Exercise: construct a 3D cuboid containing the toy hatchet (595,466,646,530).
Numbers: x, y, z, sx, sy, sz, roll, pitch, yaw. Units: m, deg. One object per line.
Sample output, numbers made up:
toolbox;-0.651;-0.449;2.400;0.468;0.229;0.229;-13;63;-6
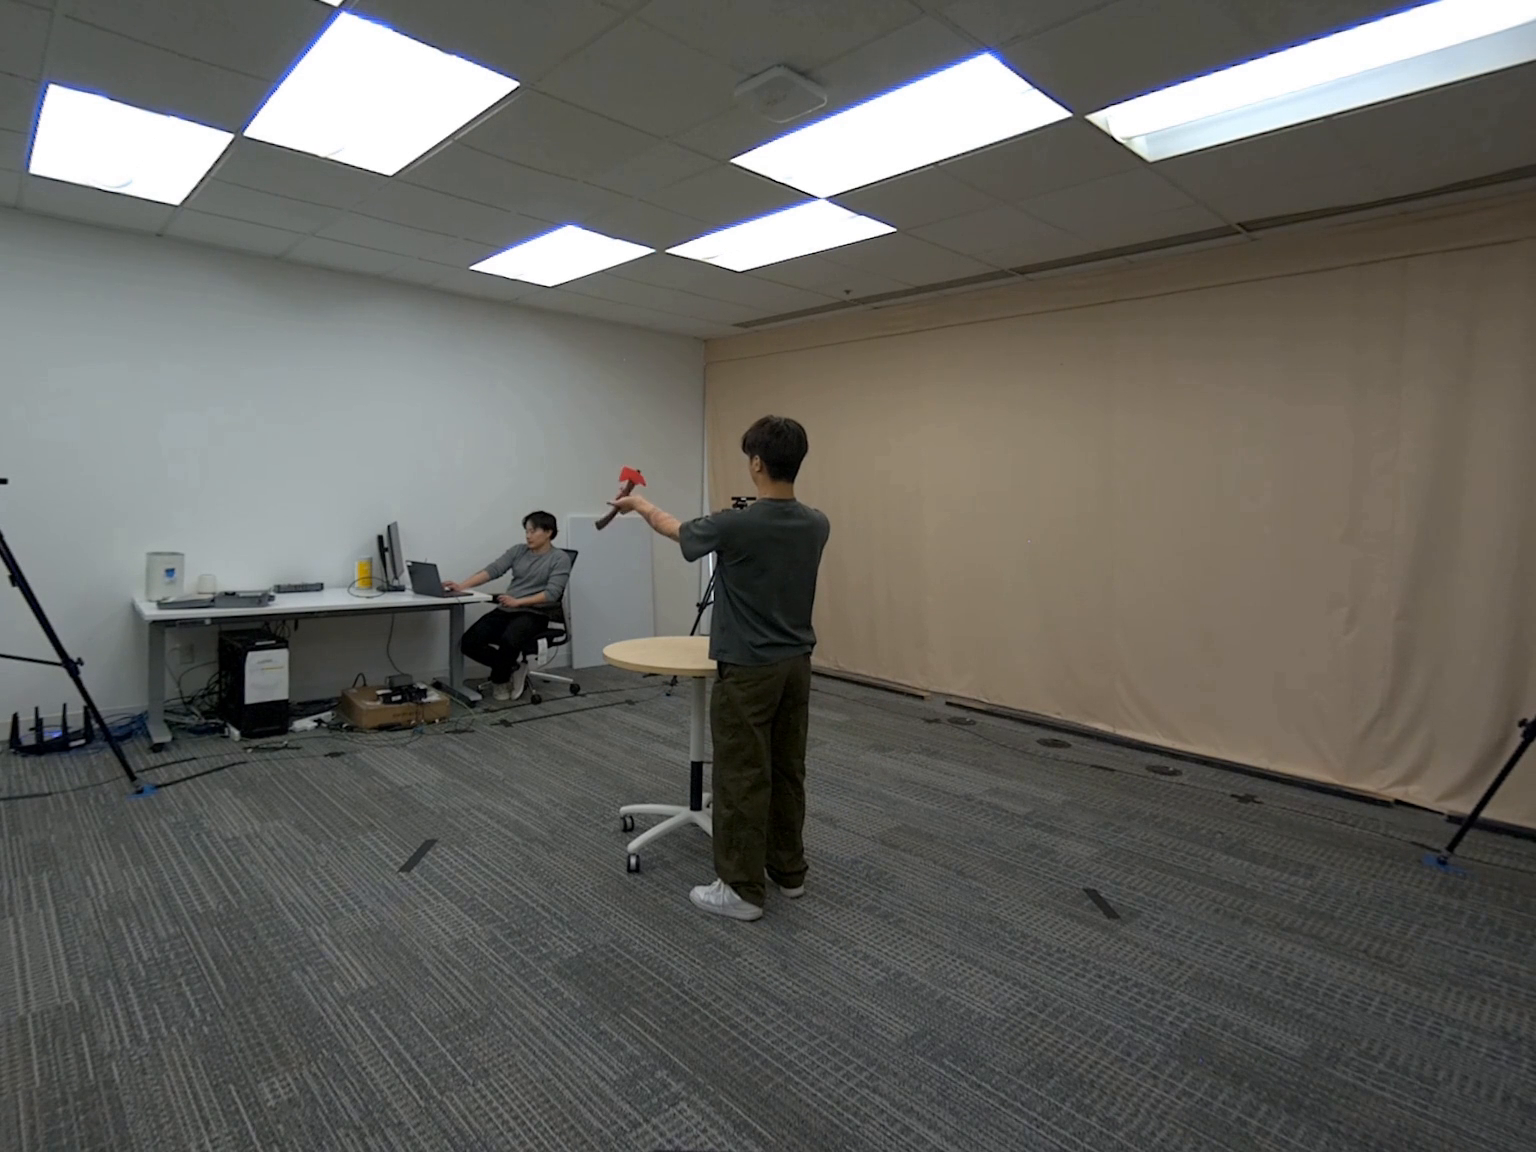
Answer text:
toy hatchet;-0.565;-0.297;3.103;0.030;0.127;0.270;18;55;39
